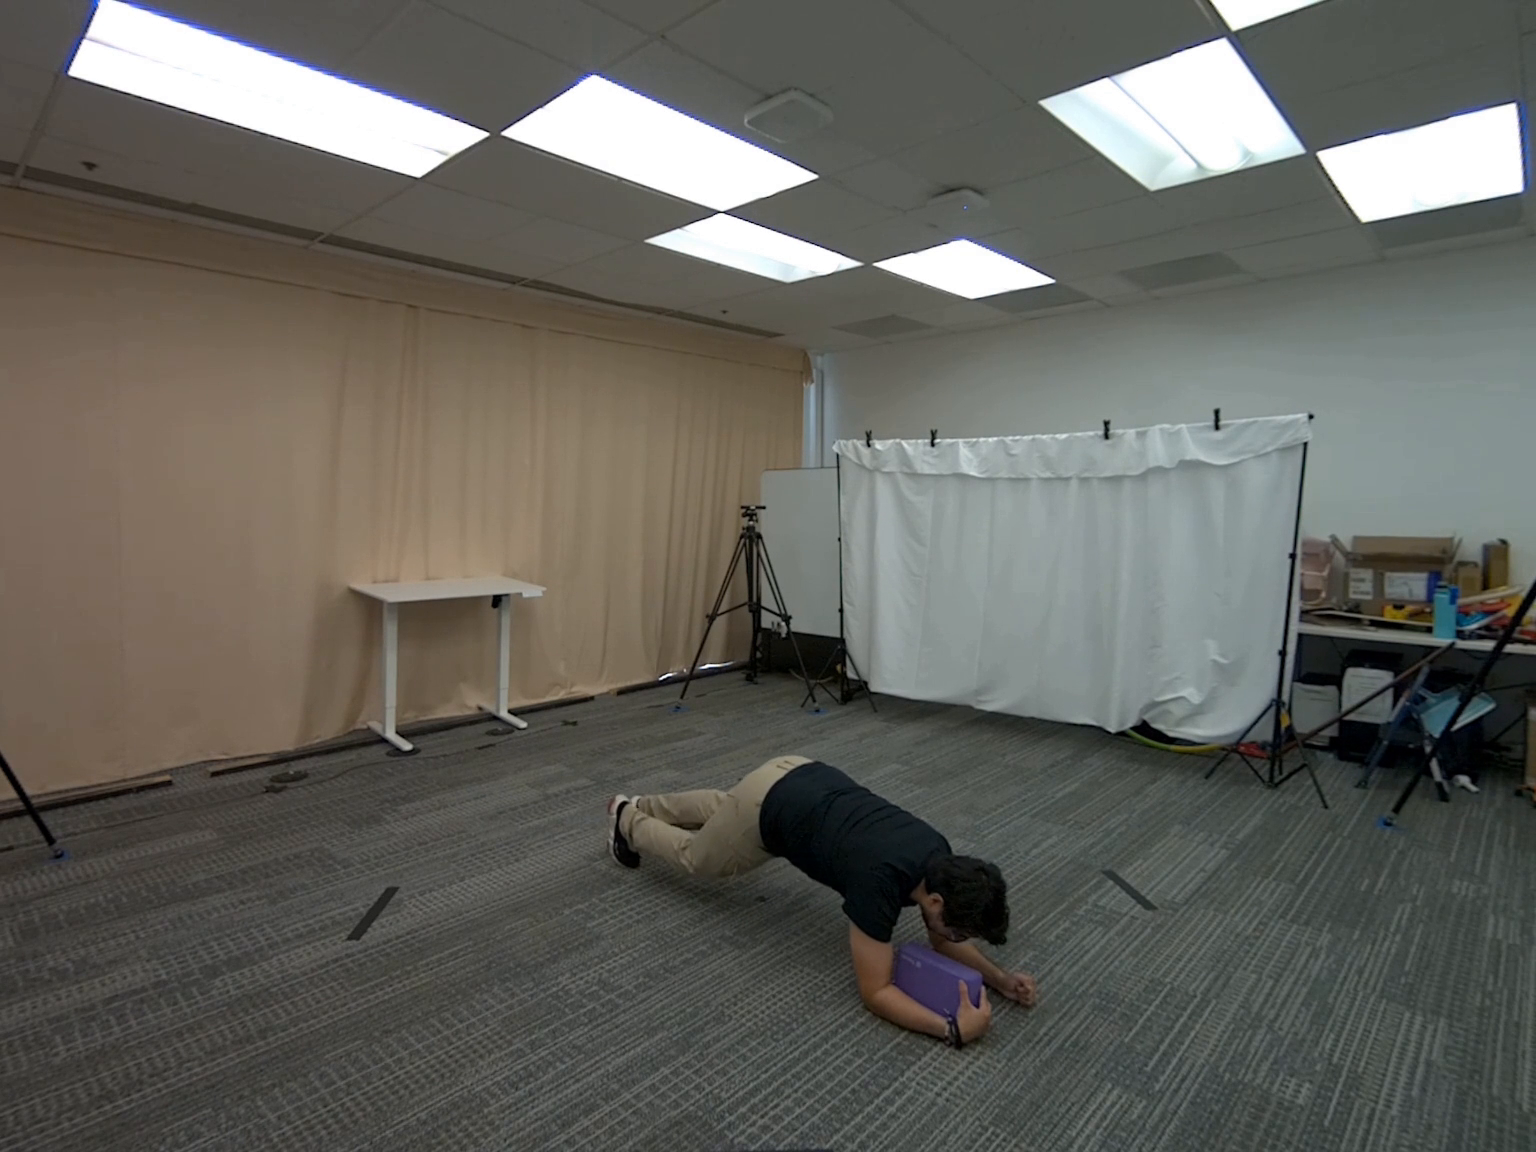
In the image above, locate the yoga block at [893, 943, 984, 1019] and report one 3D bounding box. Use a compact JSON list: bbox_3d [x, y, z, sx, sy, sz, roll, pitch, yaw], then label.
[{"bbox_3d":[0.467,1.125,2.295,0.074,0.149,0.237,7,-1,-42],"label":"yoga block"}]
